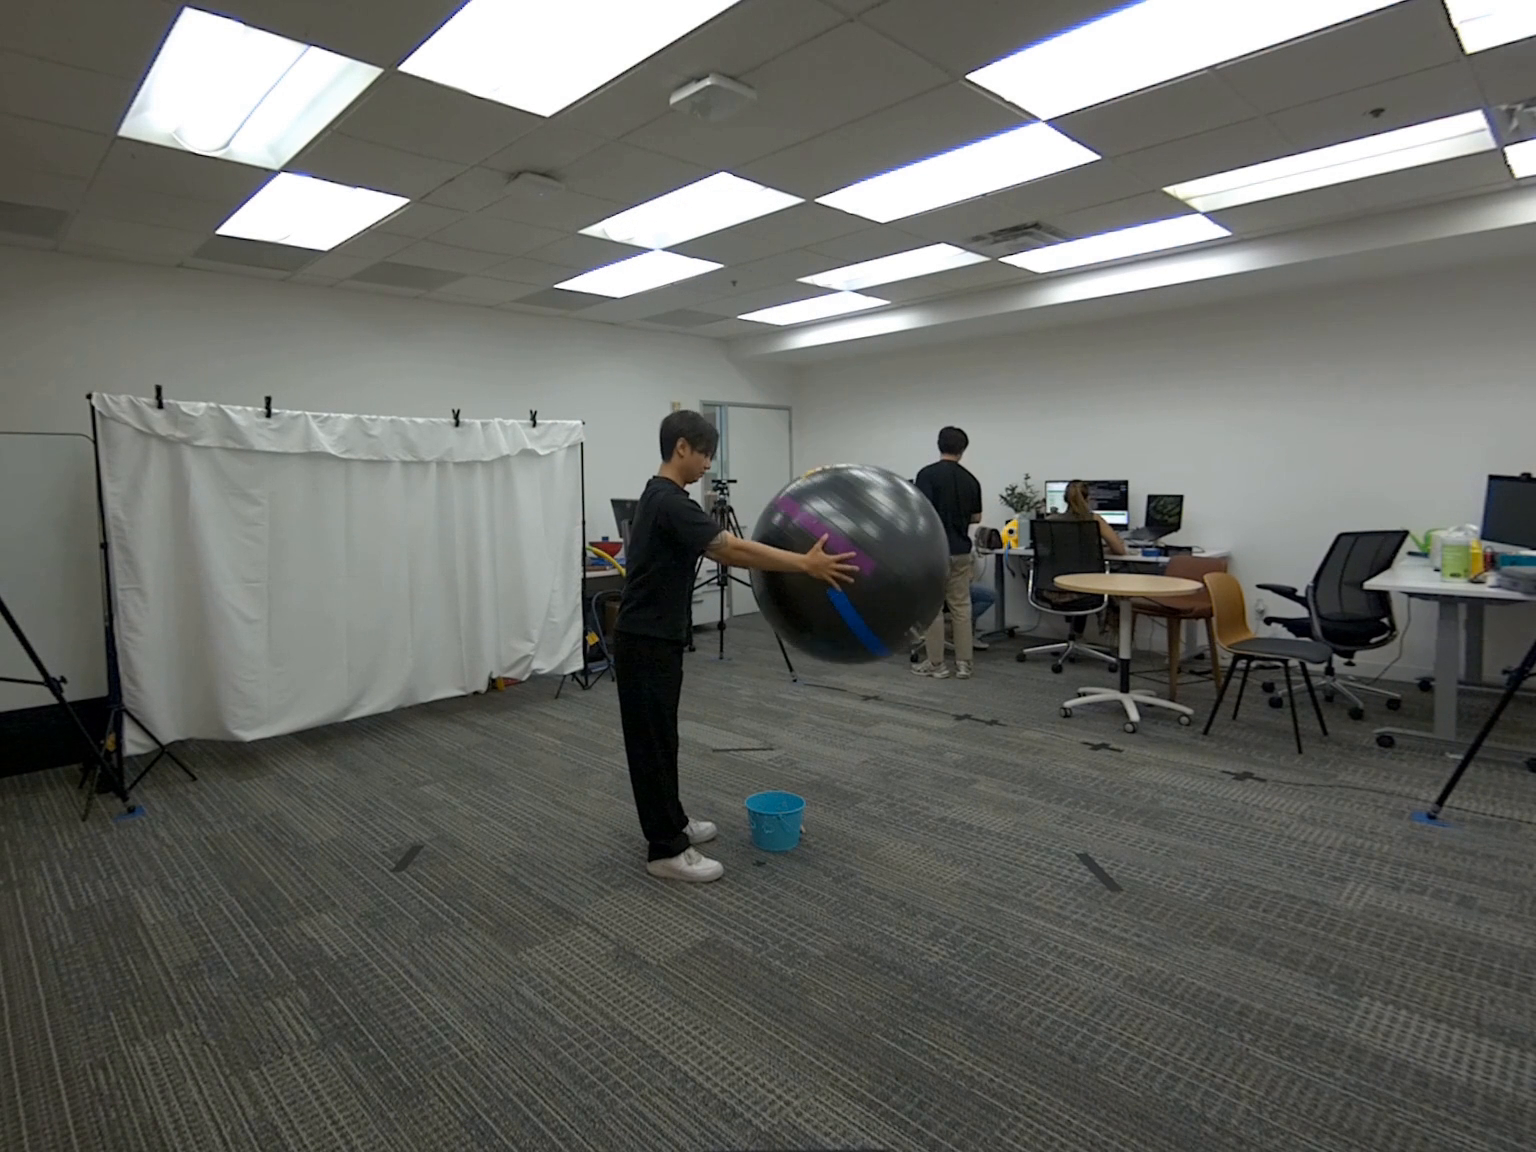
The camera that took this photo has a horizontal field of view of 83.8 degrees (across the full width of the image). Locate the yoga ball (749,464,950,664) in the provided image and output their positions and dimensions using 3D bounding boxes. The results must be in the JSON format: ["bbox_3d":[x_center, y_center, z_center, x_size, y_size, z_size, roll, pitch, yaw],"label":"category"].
[{"bbox_3d":[0.318,-0.046,3.272,0.757,0.755,0.762,-1,5,-2],"label":"yoga ball"}]
